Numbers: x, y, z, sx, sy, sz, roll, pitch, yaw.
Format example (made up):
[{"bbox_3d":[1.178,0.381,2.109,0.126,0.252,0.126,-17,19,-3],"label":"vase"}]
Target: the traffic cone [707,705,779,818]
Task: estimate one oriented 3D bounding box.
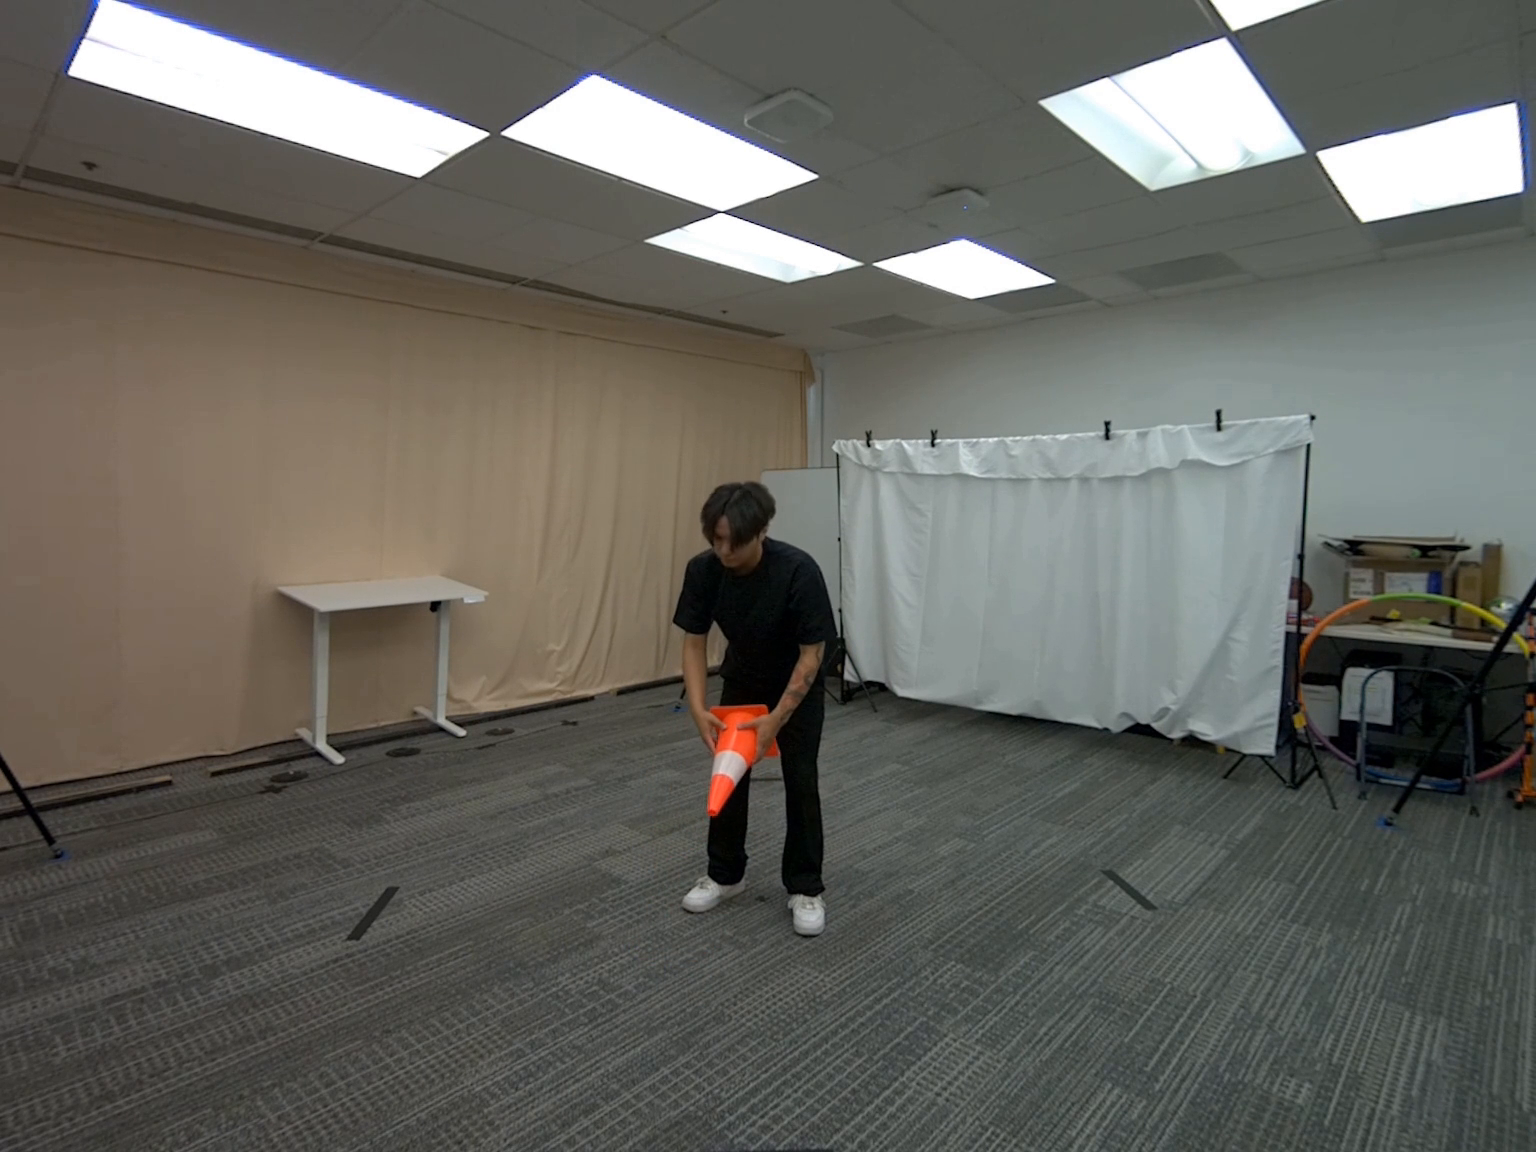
[{"bbox_3d":[-0.119,0.594,2.570,0.207,0.201,0.383,-7,24,20],"label":"traffic cone"}]
